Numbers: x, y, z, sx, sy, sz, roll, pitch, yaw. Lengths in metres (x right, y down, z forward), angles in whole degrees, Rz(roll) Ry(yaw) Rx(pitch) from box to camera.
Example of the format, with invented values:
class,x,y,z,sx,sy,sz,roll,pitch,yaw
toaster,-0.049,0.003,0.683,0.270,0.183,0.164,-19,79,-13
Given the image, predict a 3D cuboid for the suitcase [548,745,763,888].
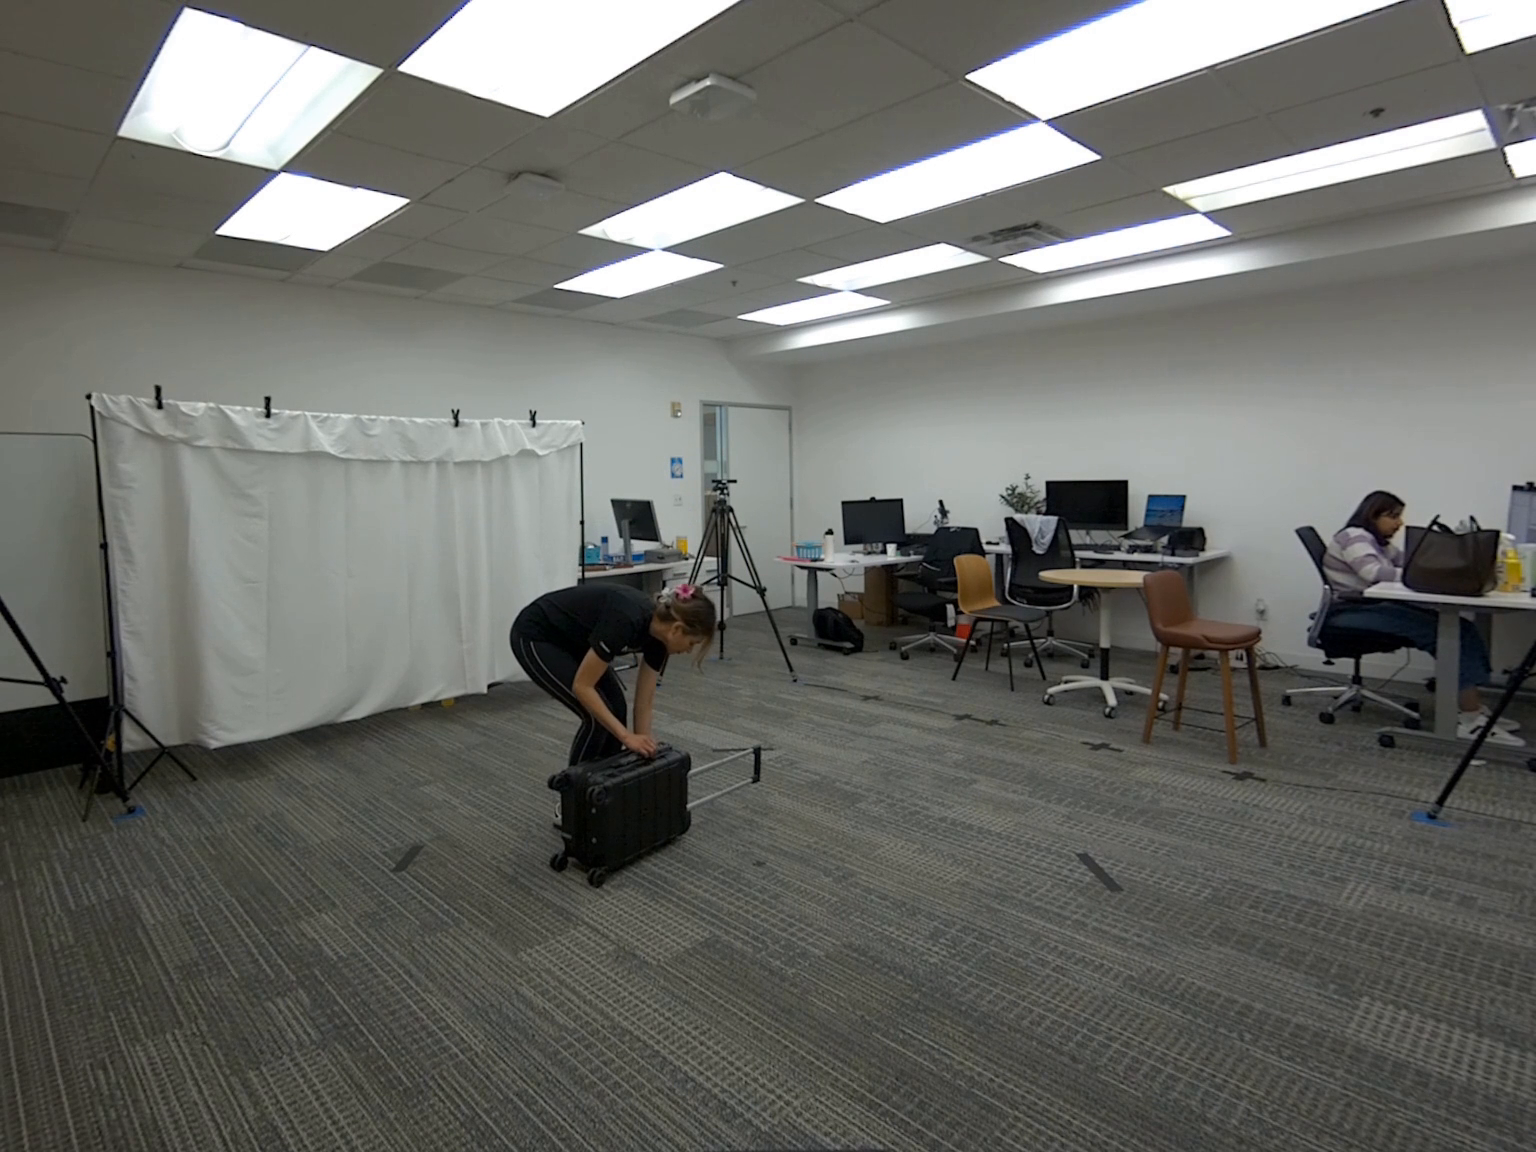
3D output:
class,x,y,z,sx,sy,sz,roll,pitch,yaw
suitcase,-0.409,0.837,3.373,0.264,0.382,0.955,3,7,35
